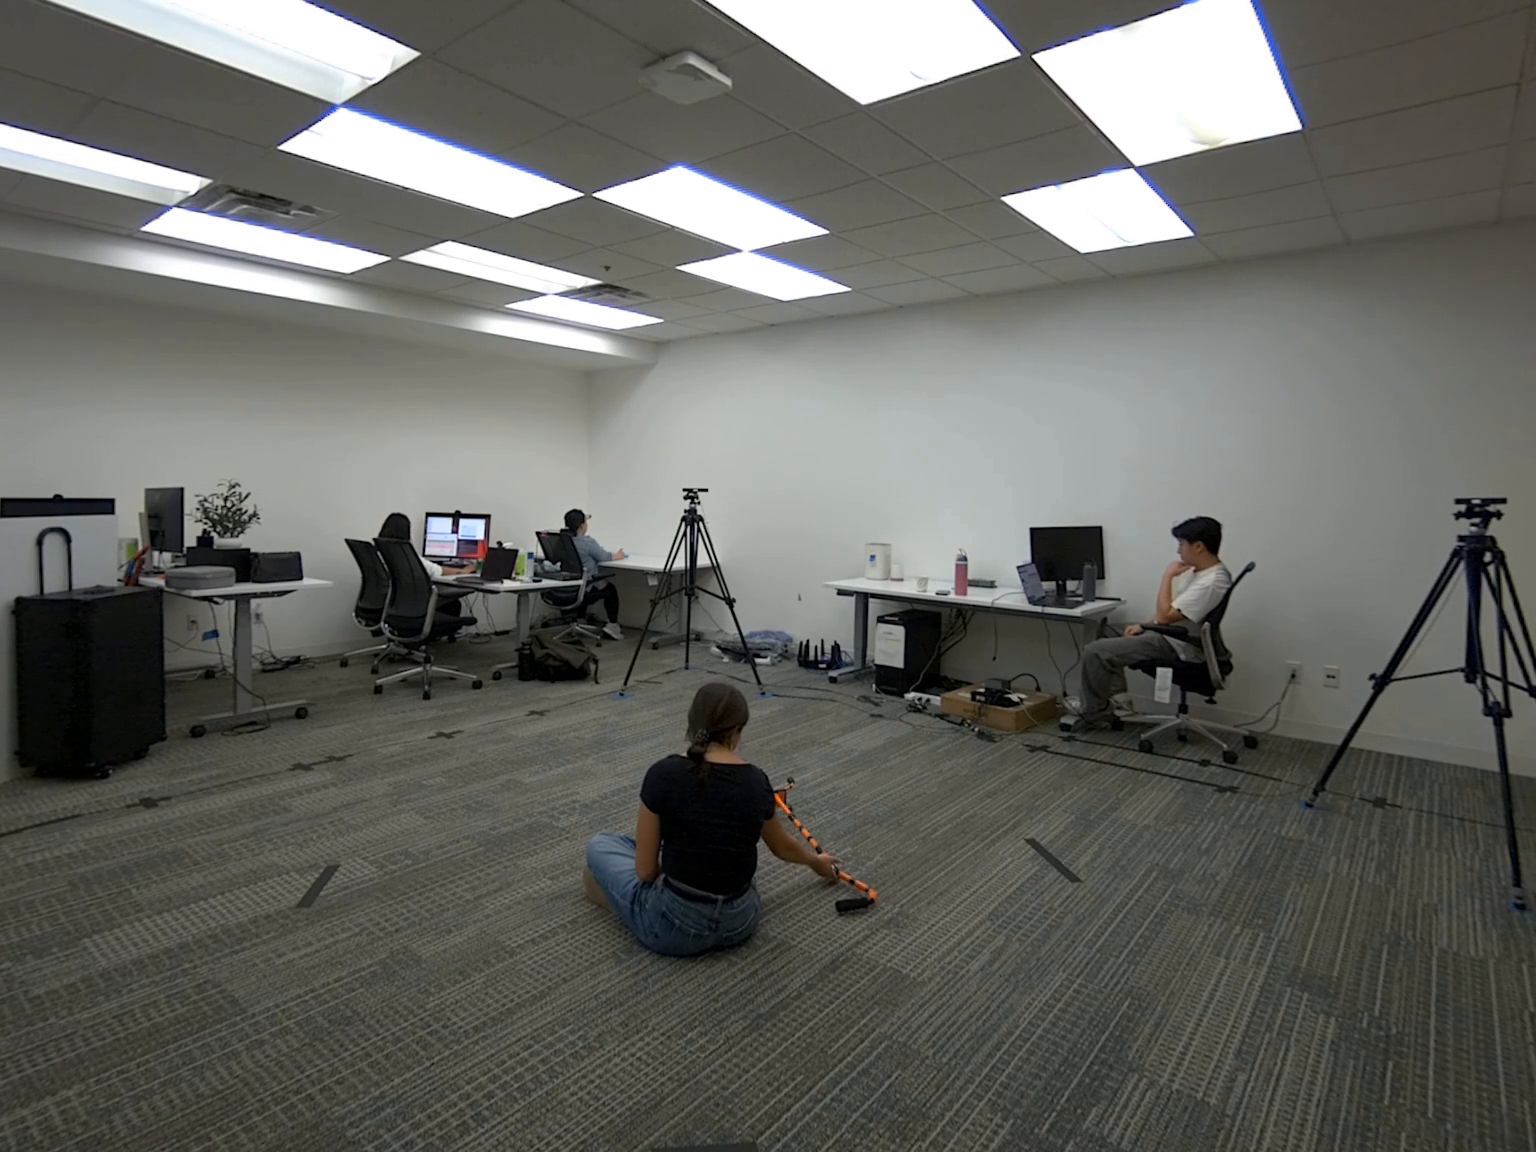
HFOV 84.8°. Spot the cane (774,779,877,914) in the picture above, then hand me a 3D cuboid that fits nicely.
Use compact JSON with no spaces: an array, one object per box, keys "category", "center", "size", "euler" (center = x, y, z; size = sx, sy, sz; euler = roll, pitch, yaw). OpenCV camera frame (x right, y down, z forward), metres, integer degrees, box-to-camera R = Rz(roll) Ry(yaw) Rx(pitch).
[{"category":"cane","center":[0.163,0.999,3.246],"size":[0.202,0.150,0.931],"euler":[1,9,-19]}]
